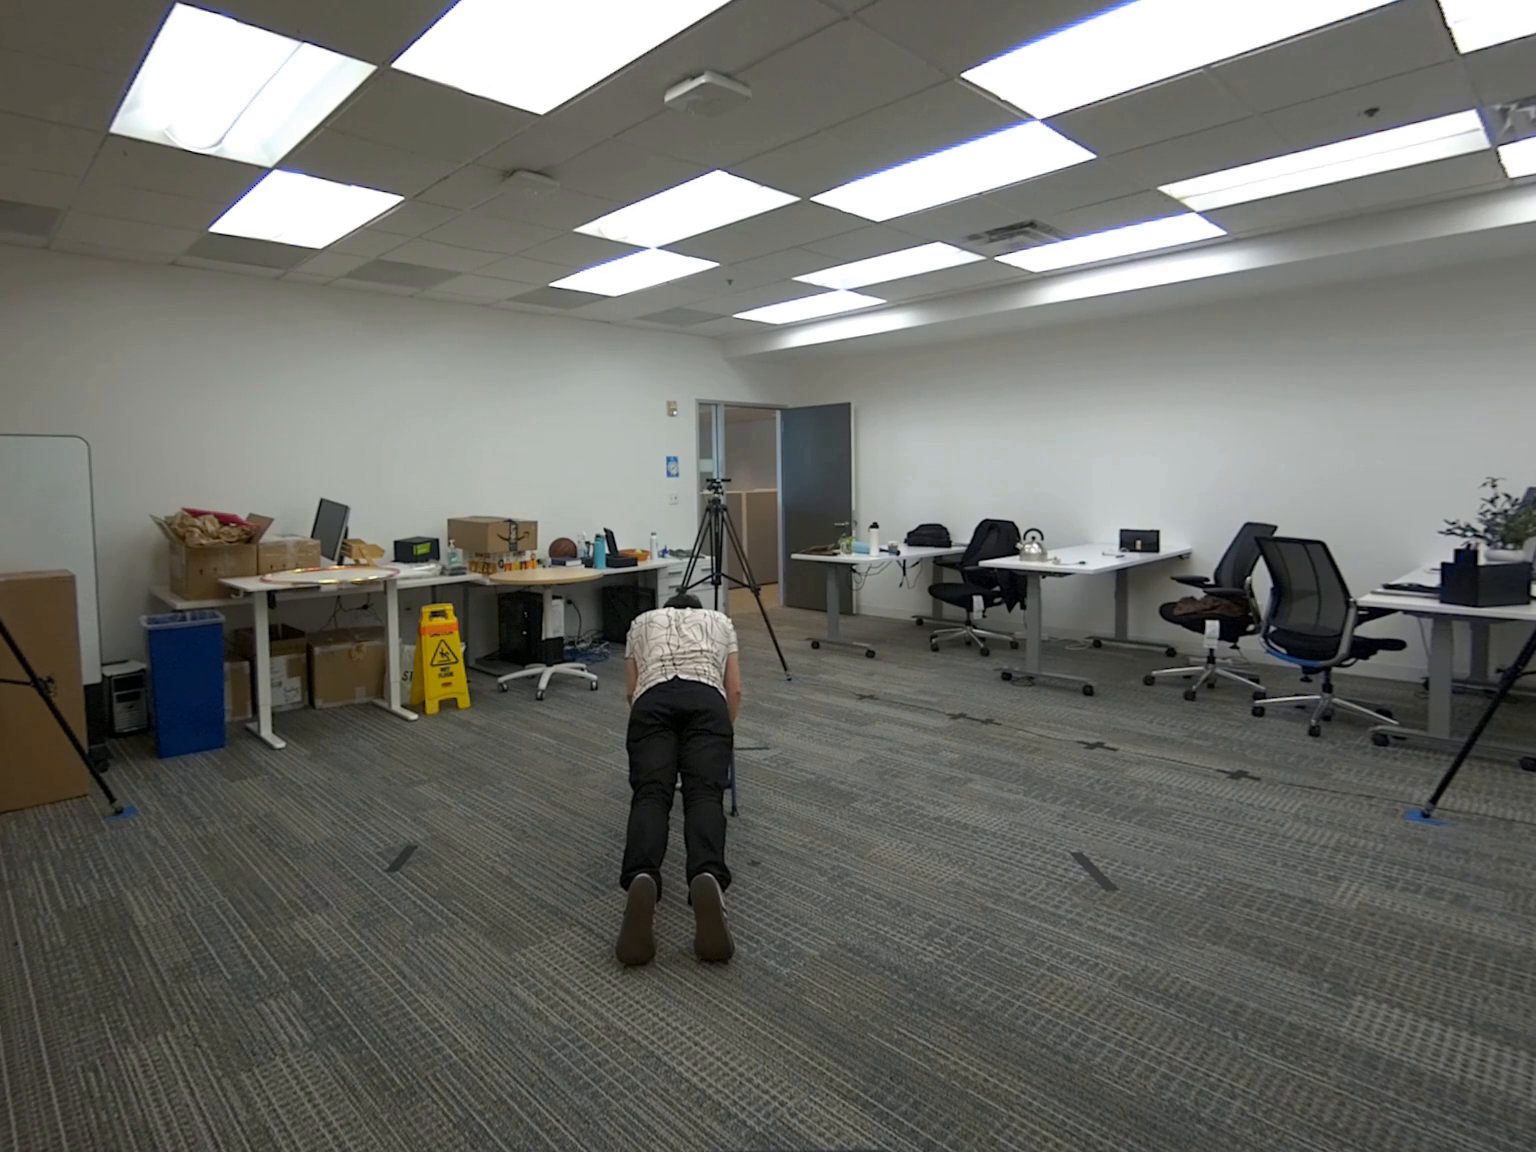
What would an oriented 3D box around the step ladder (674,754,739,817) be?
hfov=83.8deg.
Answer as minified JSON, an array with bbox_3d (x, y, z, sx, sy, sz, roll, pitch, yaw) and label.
[{"bbox_3d":[-0.351,0.685,3.699,0.430,0.604,0.351,-1,4,-3],"label":"step ladder"}]
